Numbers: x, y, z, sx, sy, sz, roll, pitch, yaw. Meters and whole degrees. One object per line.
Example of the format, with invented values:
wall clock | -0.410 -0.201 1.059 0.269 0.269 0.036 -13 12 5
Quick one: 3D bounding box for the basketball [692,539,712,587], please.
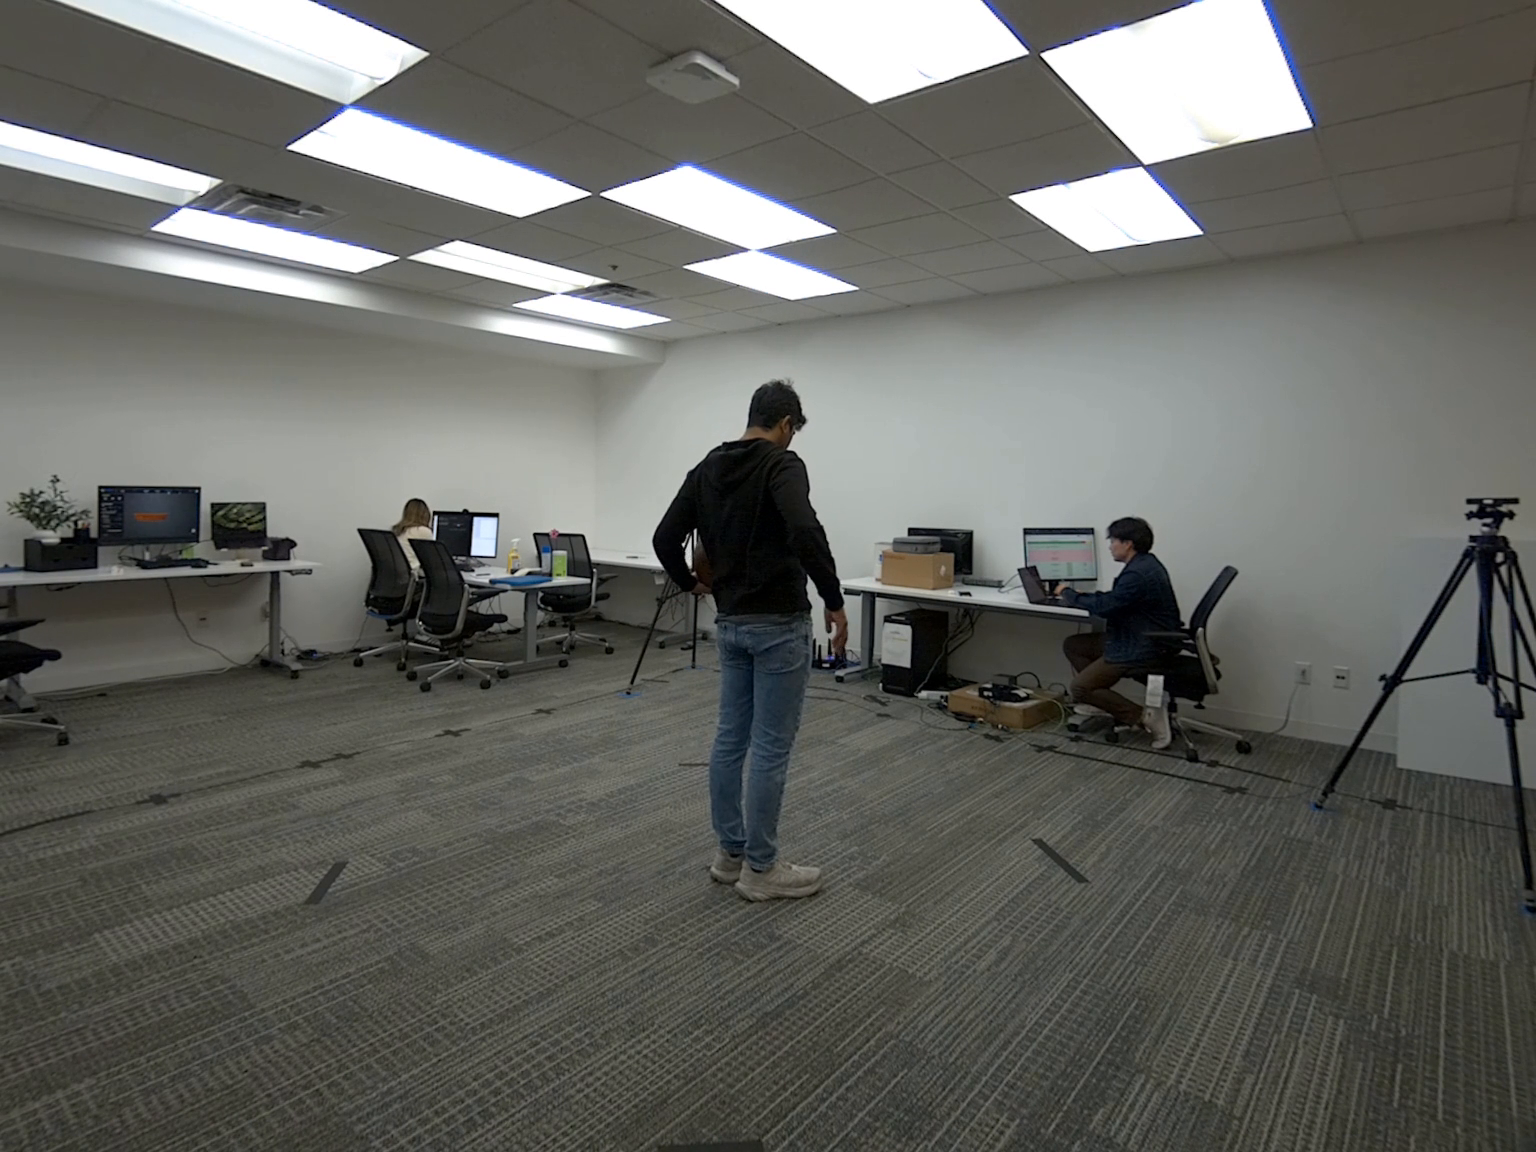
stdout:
basketball | -0.169 -0.076 3.255 0.235 0.235 0.237 1 4 -2
